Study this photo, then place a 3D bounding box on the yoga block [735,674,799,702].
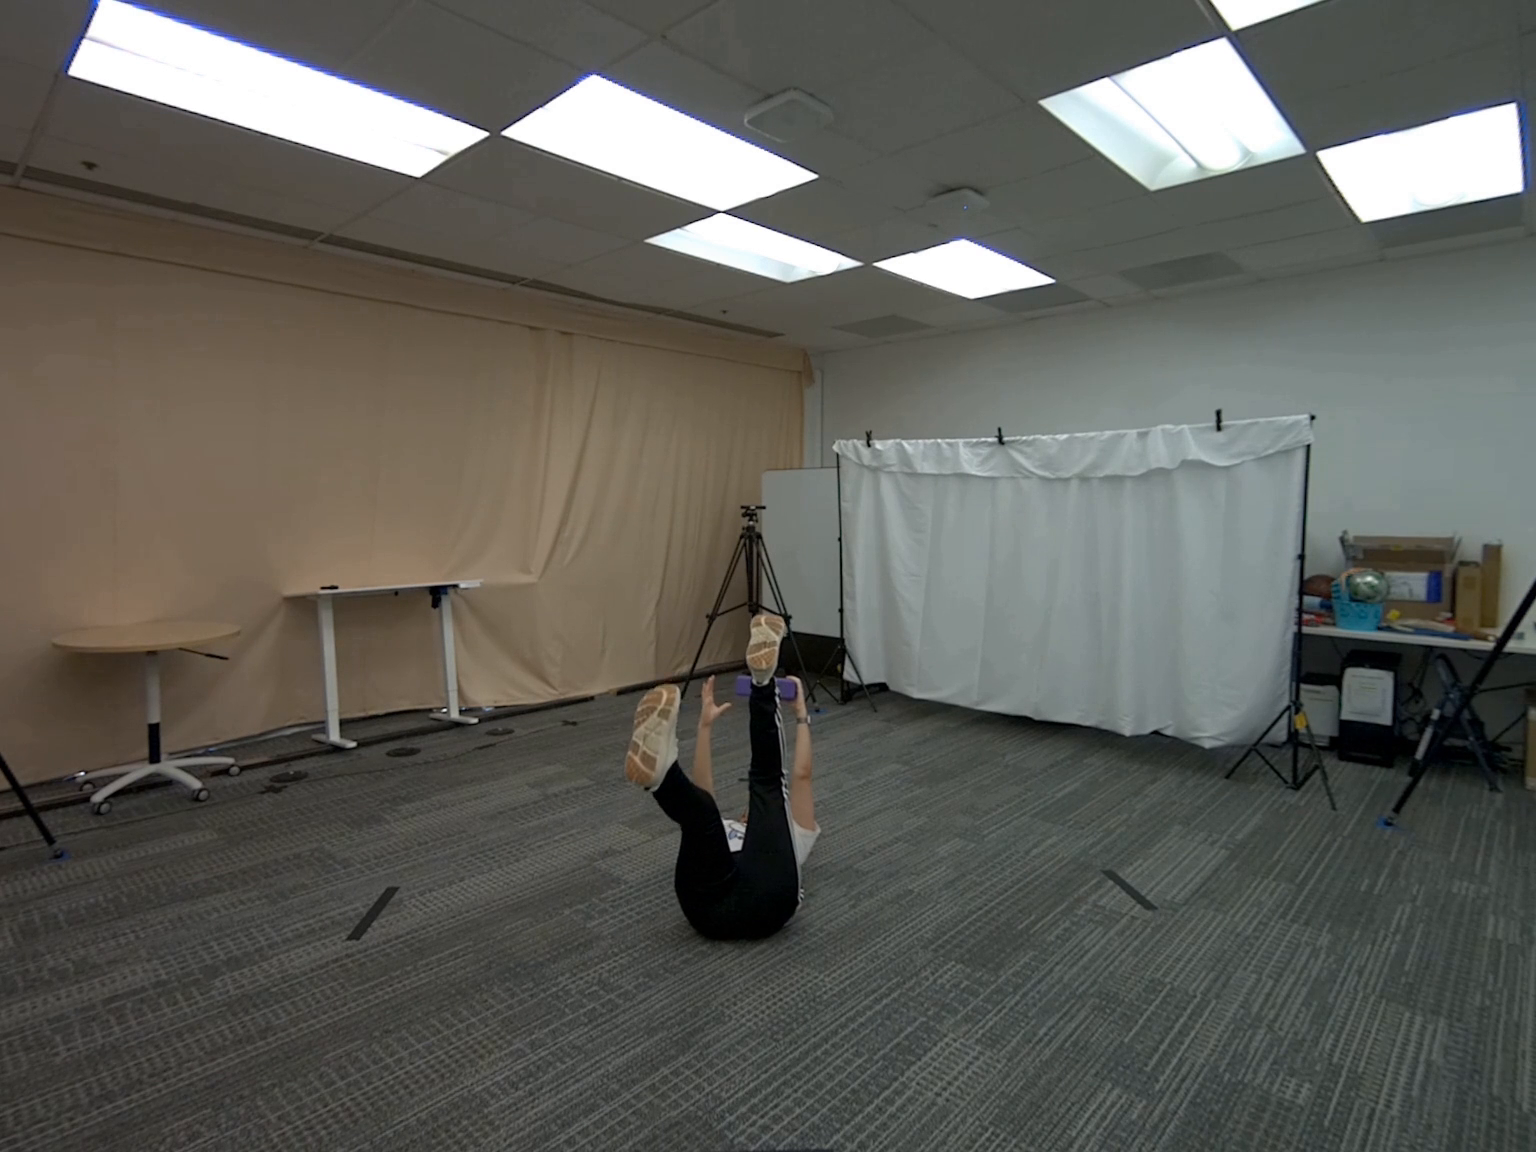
[{"bbox_3d":[-0.005,0.442,3.347,0.231,0.077,0.147,4,-7,6],"label":"yoga block"}]
